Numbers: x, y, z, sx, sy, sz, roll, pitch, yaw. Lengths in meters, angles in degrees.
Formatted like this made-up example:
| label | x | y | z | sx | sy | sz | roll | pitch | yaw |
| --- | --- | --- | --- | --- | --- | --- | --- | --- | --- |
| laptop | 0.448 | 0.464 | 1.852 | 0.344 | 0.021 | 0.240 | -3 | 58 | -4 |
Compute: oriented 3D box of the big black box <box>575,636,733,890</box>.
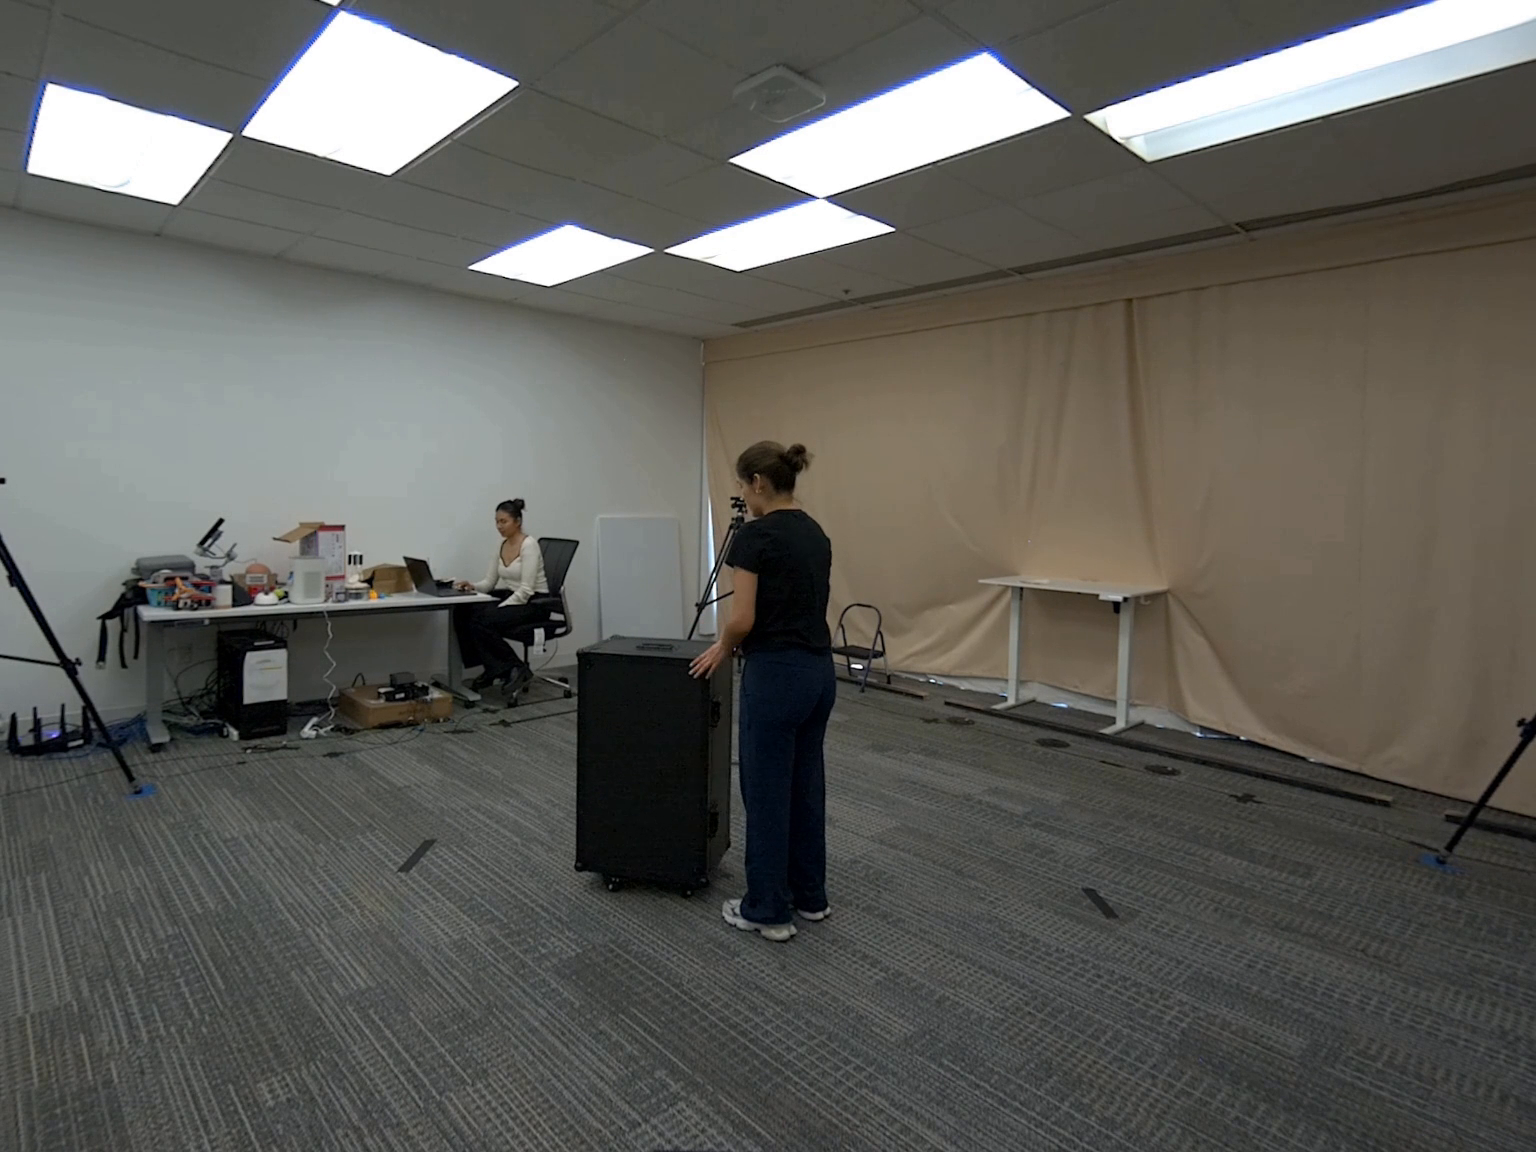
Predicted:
| label | x | y | z | sx | sy | sz | roll | pitch | yaw |
| --- | --- | --- | --- | --- | --- | --- | --- | --- | --- |
| big black box | -0.408 | 0.680 | 3.058 | 0.527 | 0.860 | 0.393 | 2 | 3 | 12 |
